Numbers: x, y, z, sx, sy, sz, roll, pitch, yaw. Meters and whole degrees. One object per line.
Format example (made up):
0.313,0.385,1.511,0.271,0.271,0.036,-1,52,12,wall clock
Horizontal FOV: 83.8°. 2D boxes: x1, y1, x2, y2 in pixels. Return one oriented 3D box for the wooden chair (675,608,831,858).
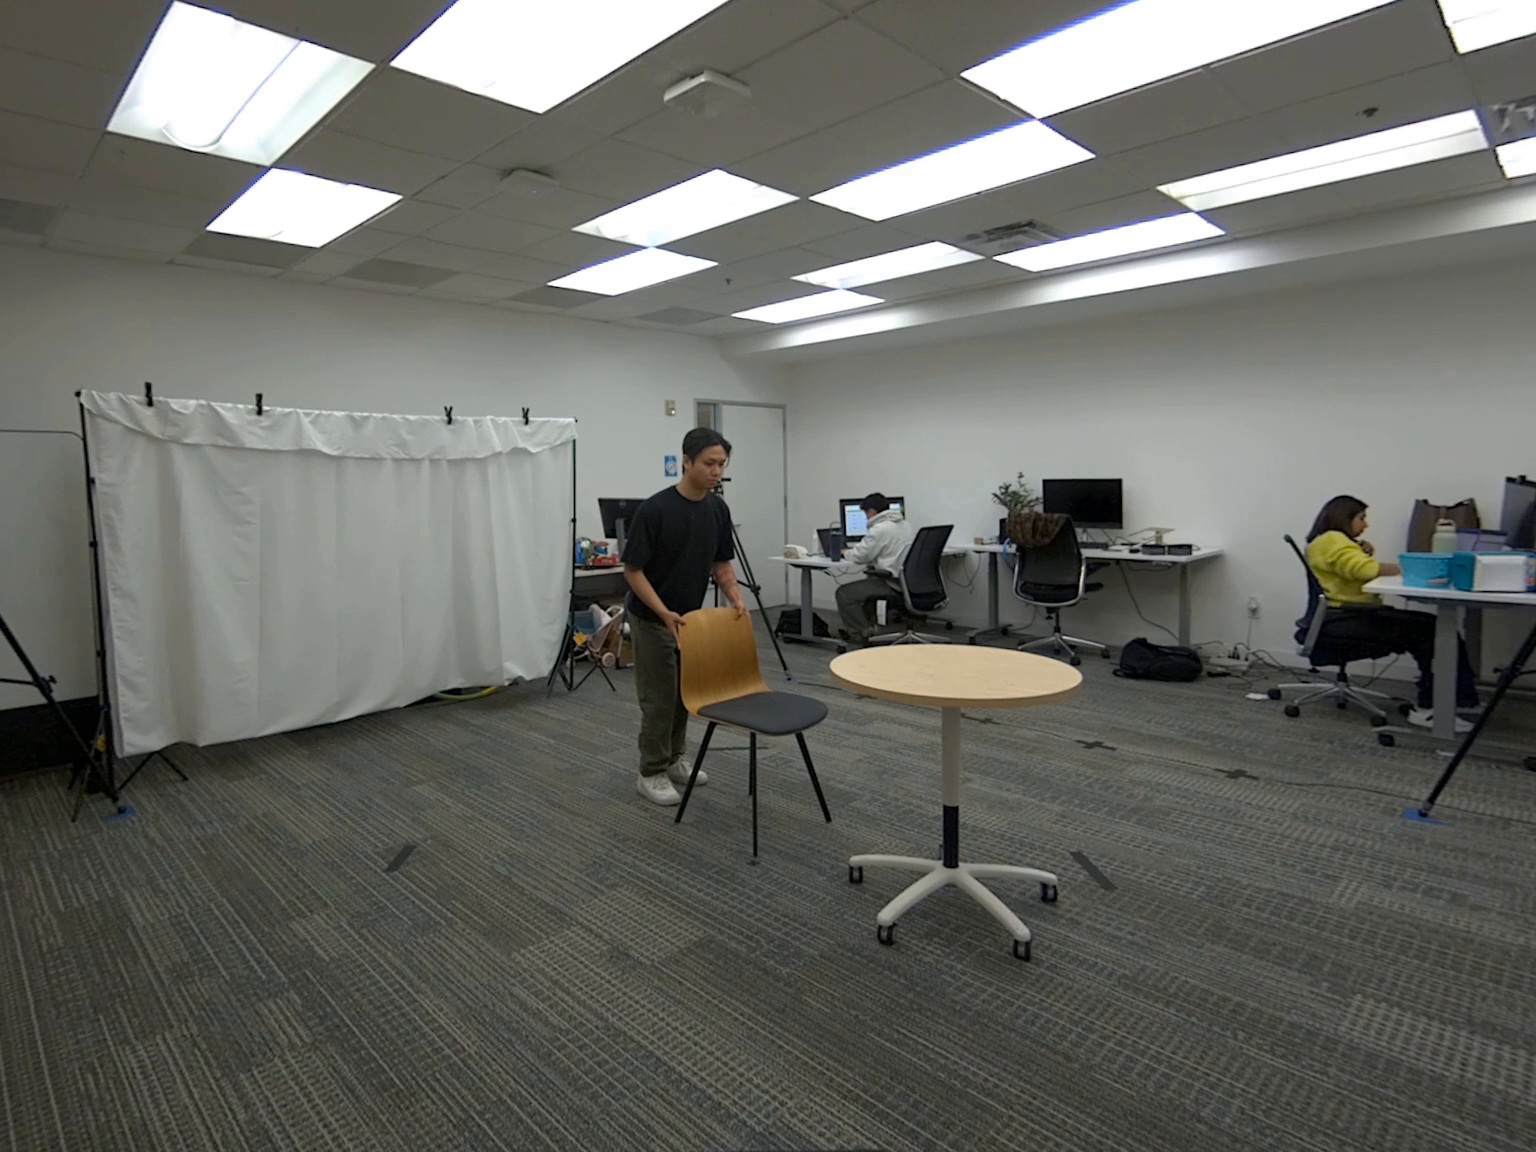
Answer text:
-0.057,0.578,3.428,0.538,0.877,0.465,-2,1,44,wooden chair
